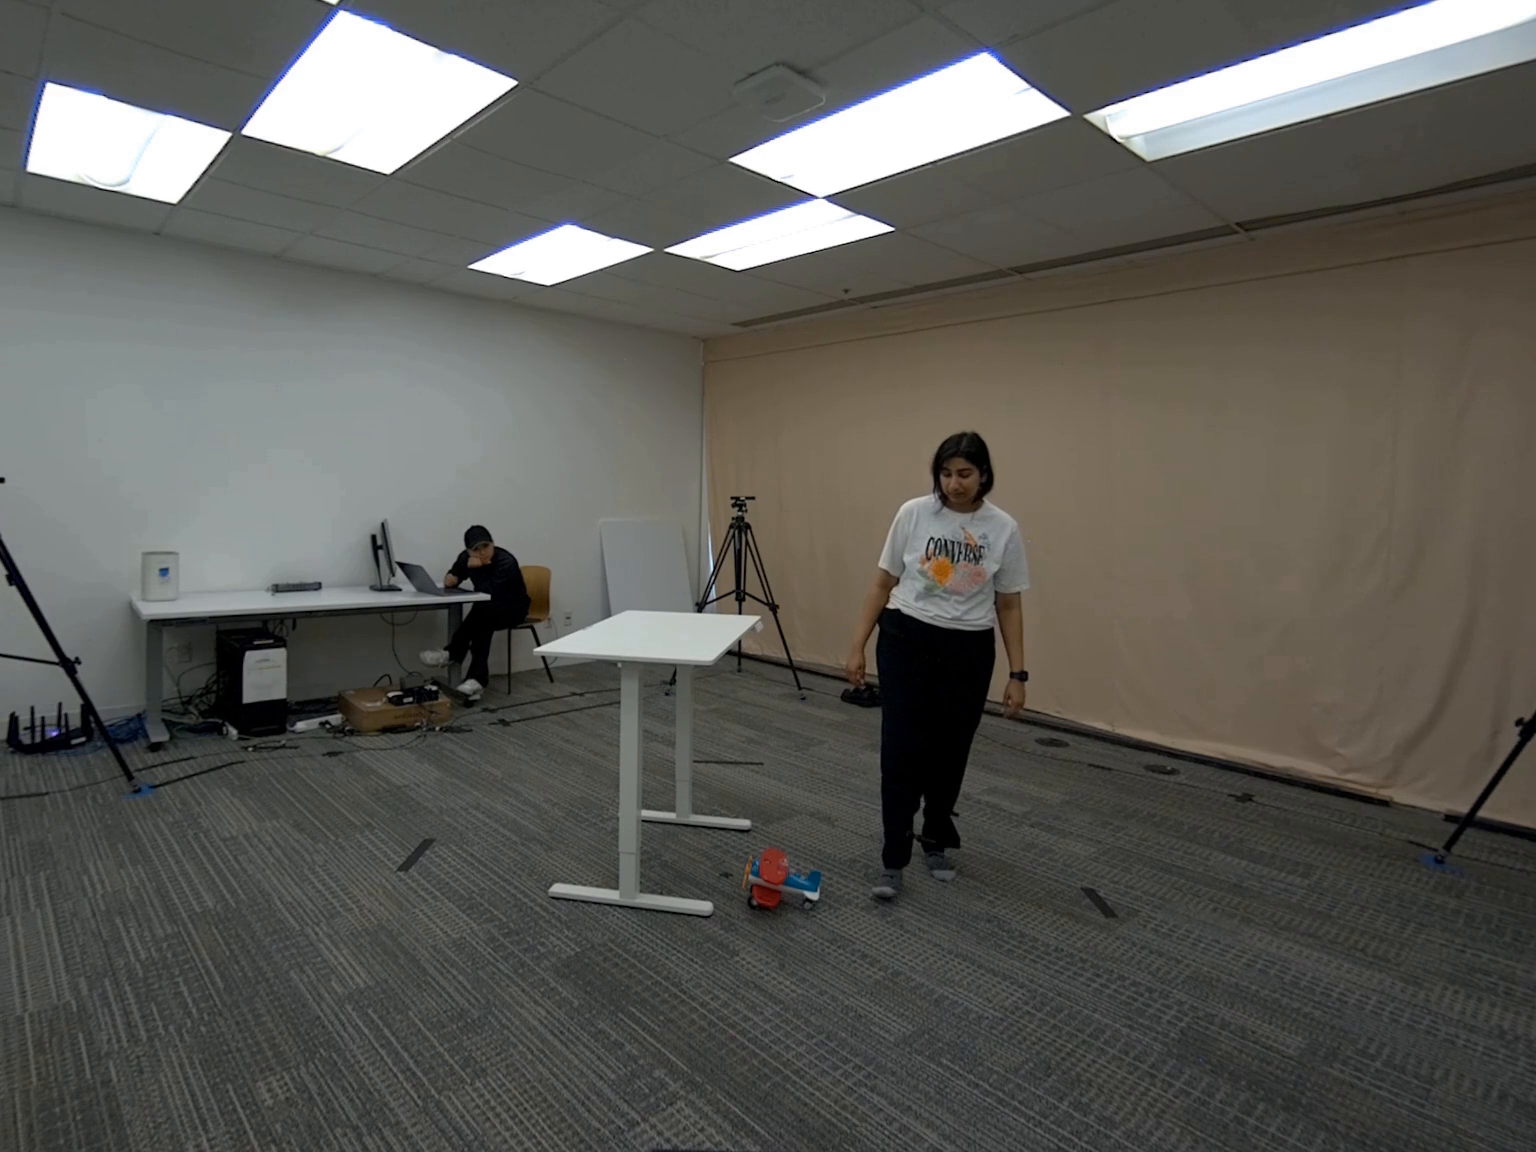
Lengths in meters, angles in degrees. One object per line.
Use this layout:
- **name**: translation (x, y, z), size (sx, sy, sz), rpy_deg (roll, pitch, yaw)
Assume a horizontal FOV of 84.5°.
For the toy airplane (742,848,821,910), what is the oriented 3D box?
- **toy airplane**: translation (0.041, 1.053, 2.903), size (0.255, 0.156, 0.256), rpy_deg (-2, 5, -23)
